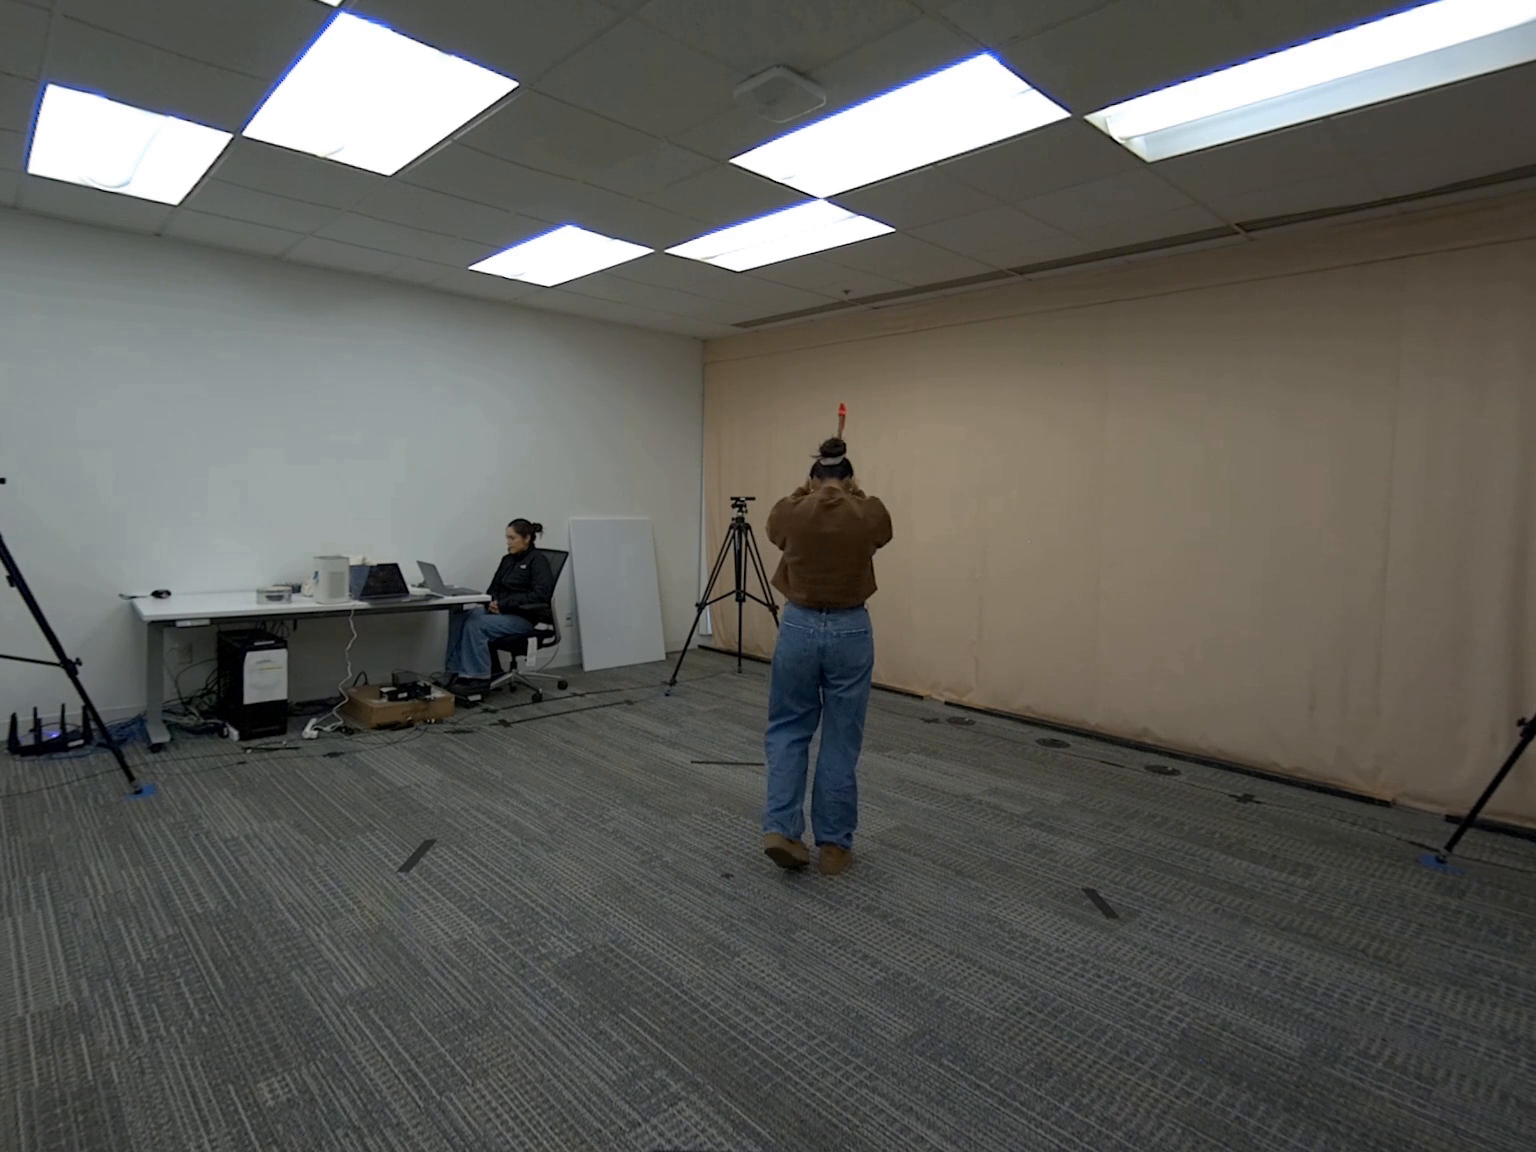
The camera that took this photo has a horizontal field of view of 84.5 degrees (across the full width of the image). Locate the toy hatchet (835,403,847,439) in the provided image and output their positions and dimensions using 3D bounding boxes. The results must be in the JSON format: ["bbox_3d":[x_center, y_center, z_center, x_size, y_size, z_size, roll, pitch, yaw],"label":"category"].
[{"bbox_3d":[0.283,-0.577,3.453,0.030,0.272,0.129,4,-9,8],"label":"toy hatchet"}]
